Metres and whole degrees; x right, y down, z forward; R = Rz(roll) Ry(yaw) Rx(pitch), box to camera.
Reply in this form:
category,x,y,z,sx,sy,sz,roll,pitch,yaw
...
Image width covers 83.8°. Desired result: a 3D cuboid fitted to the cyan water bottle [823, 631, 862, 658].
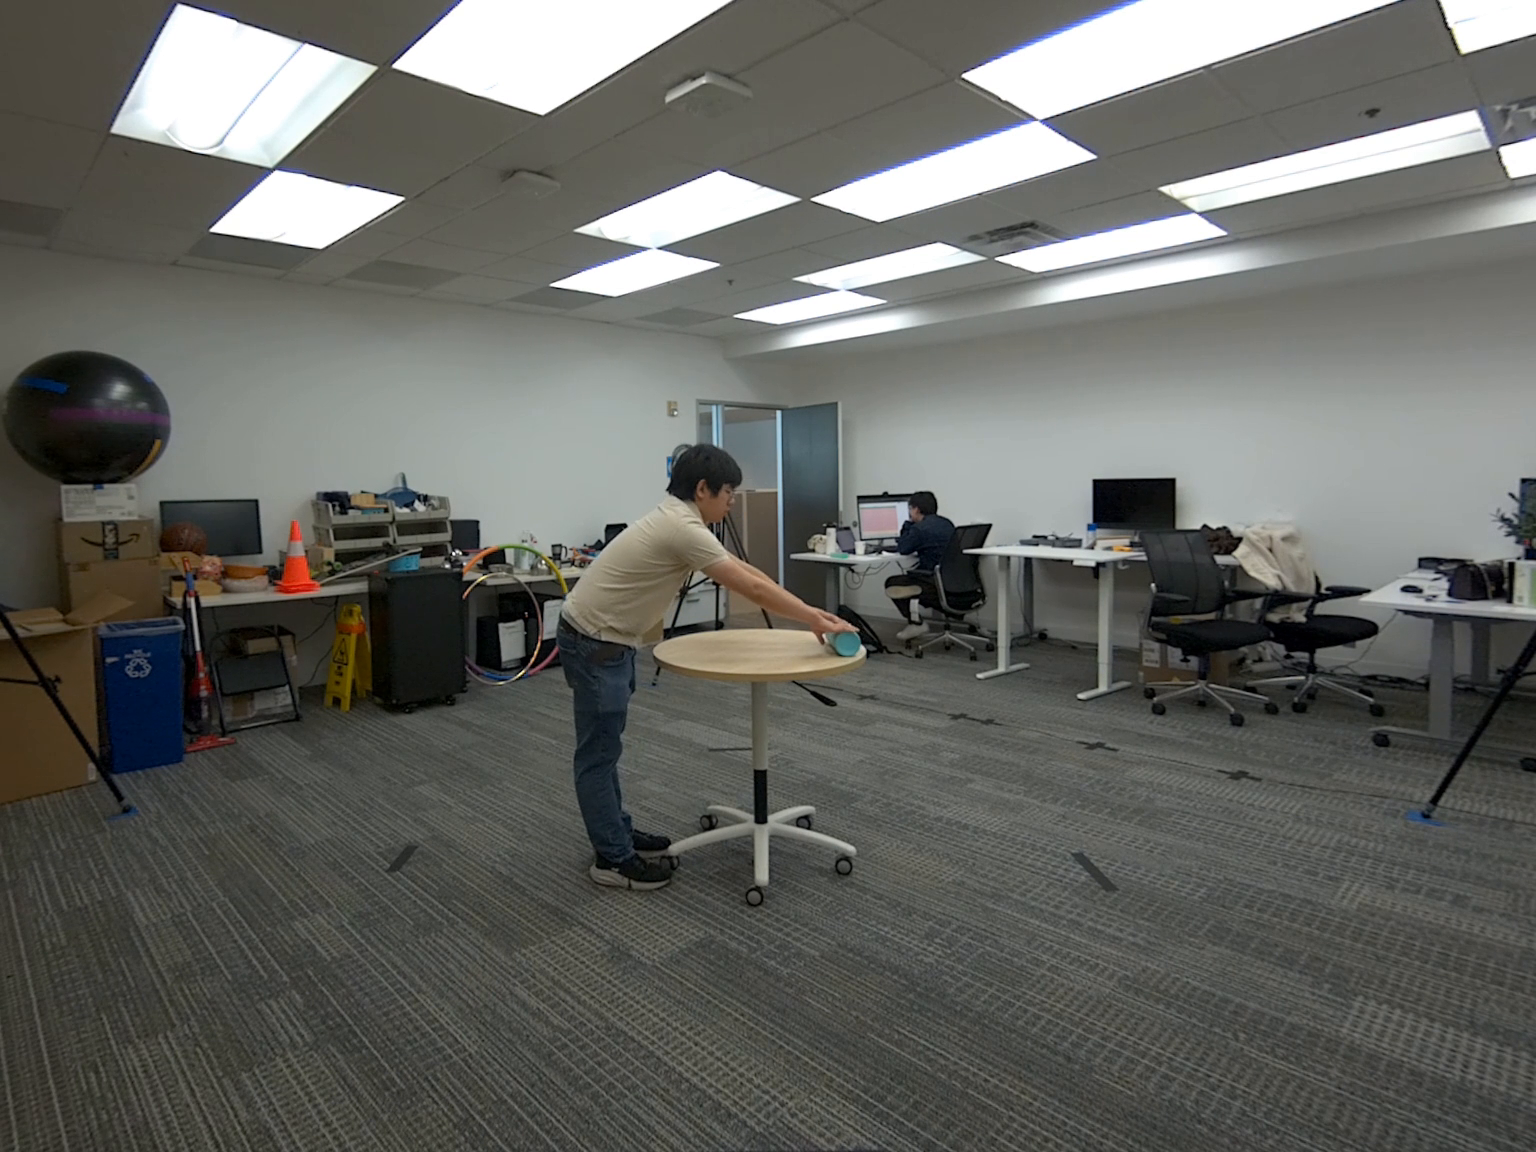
category,x,y,z,sx,sy,sz,roll,pitch,yaw
cyan water bottle,0.250,0.219,3.069,0.092,0.092,0.286,-1,7,-6
